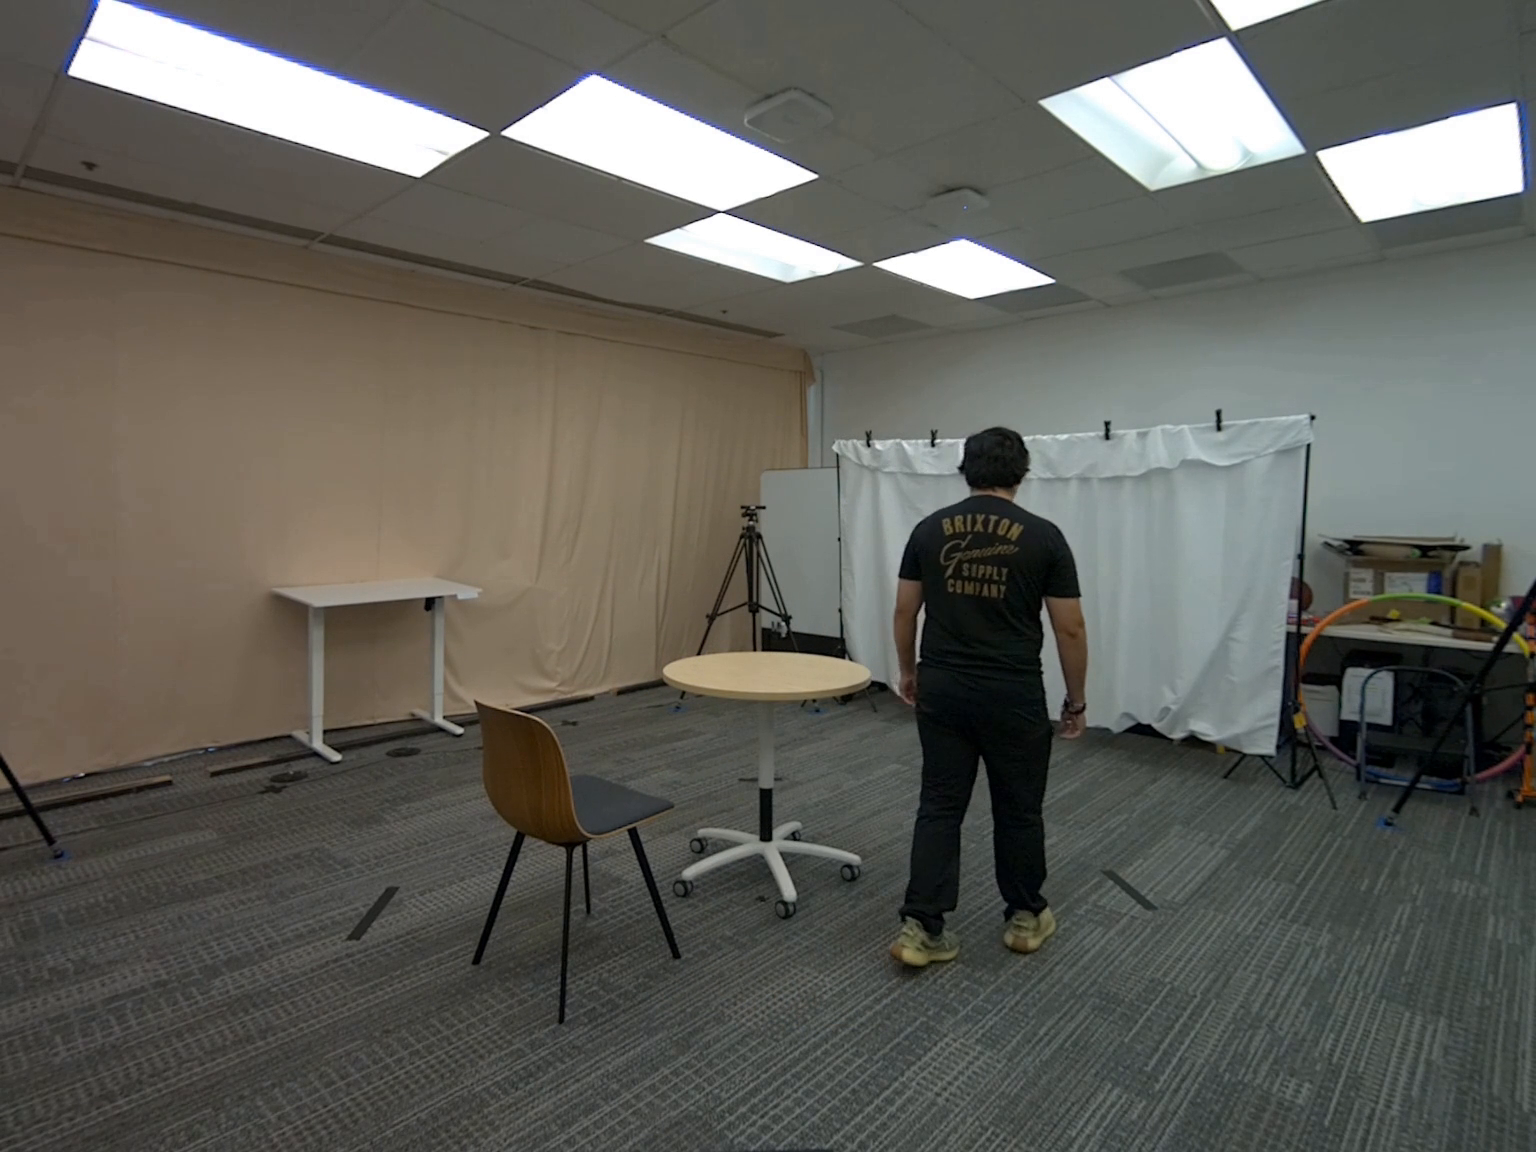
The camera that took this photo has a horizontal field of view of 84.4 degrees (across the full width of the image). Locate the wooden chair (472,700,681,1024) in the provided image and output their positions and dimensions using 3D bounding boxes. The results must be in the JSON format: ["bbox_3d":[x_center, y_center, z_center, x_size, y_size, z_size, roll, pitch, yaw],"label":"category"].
[{"bbox_3d":[-0.581,0.757,2.560,0.494,0.874,0.508,2,8,41],"label":"wooden chair"}]
